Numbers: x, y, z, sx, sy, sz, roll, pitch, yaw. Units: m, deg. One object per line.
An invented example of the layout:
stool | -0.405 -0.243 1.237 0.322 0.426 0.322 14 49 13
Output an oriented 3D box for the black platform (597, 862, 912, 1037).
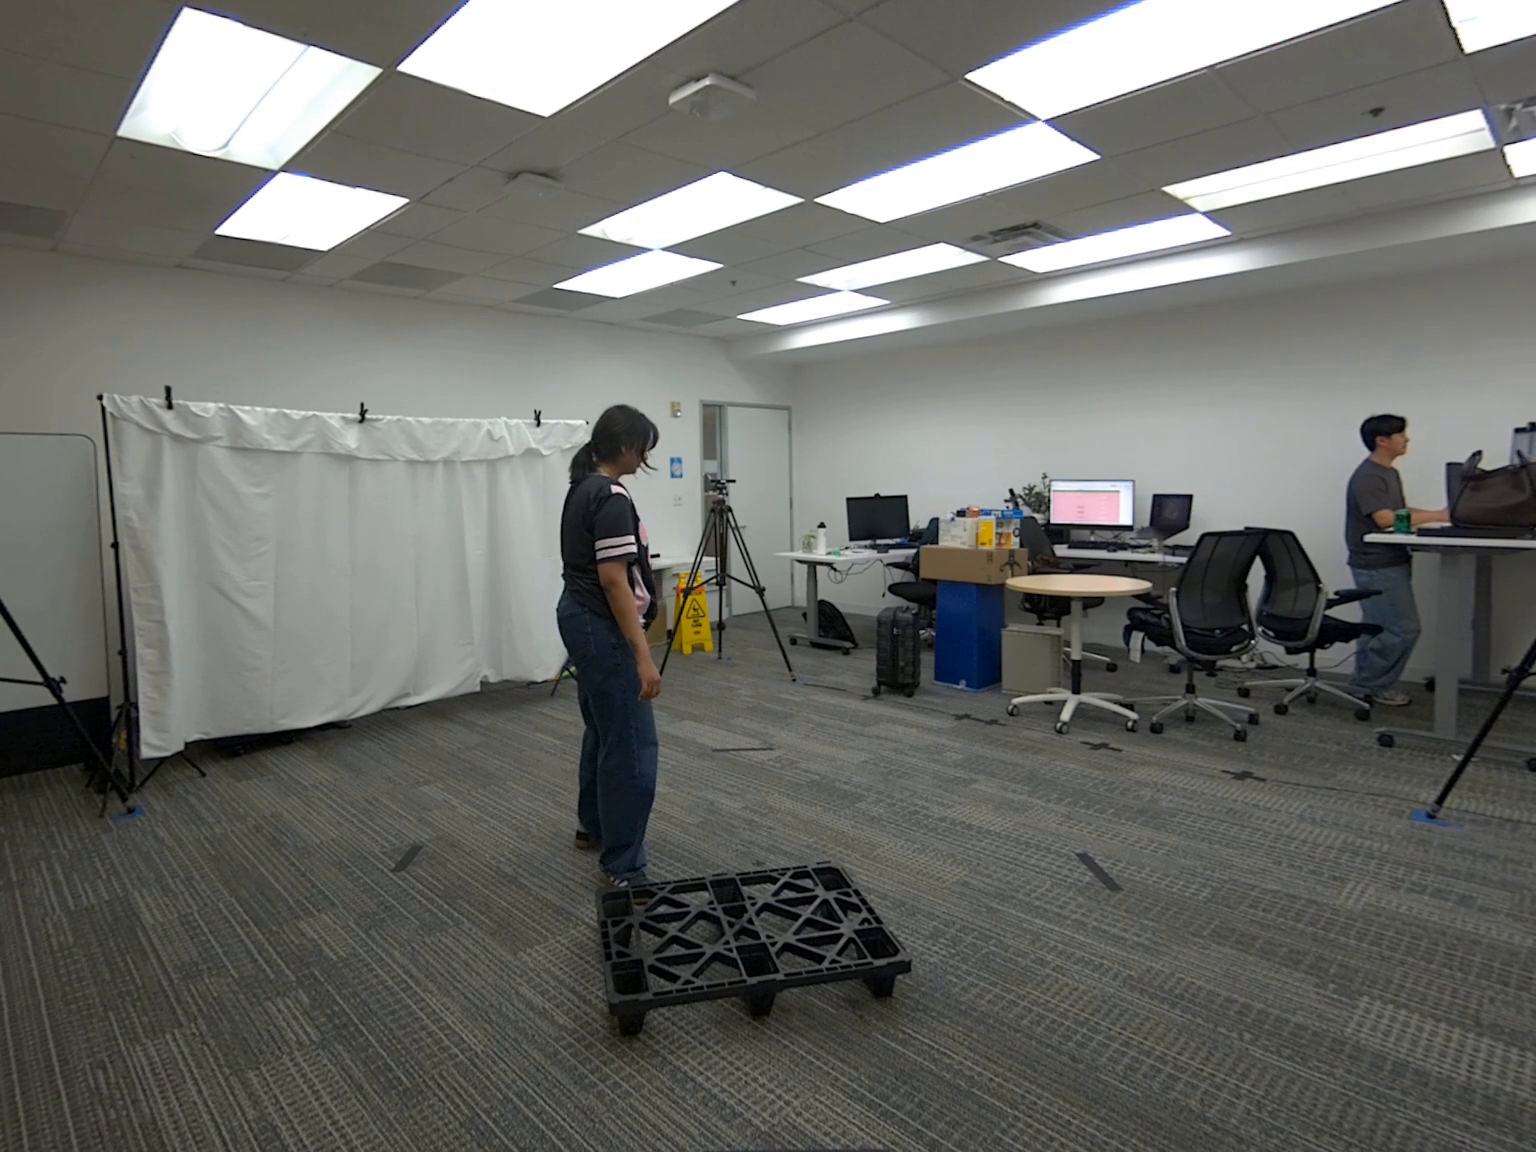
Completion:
black platform | -0.070 1.059 2.449 0.797 0.142 0.615 -3 7 -12
